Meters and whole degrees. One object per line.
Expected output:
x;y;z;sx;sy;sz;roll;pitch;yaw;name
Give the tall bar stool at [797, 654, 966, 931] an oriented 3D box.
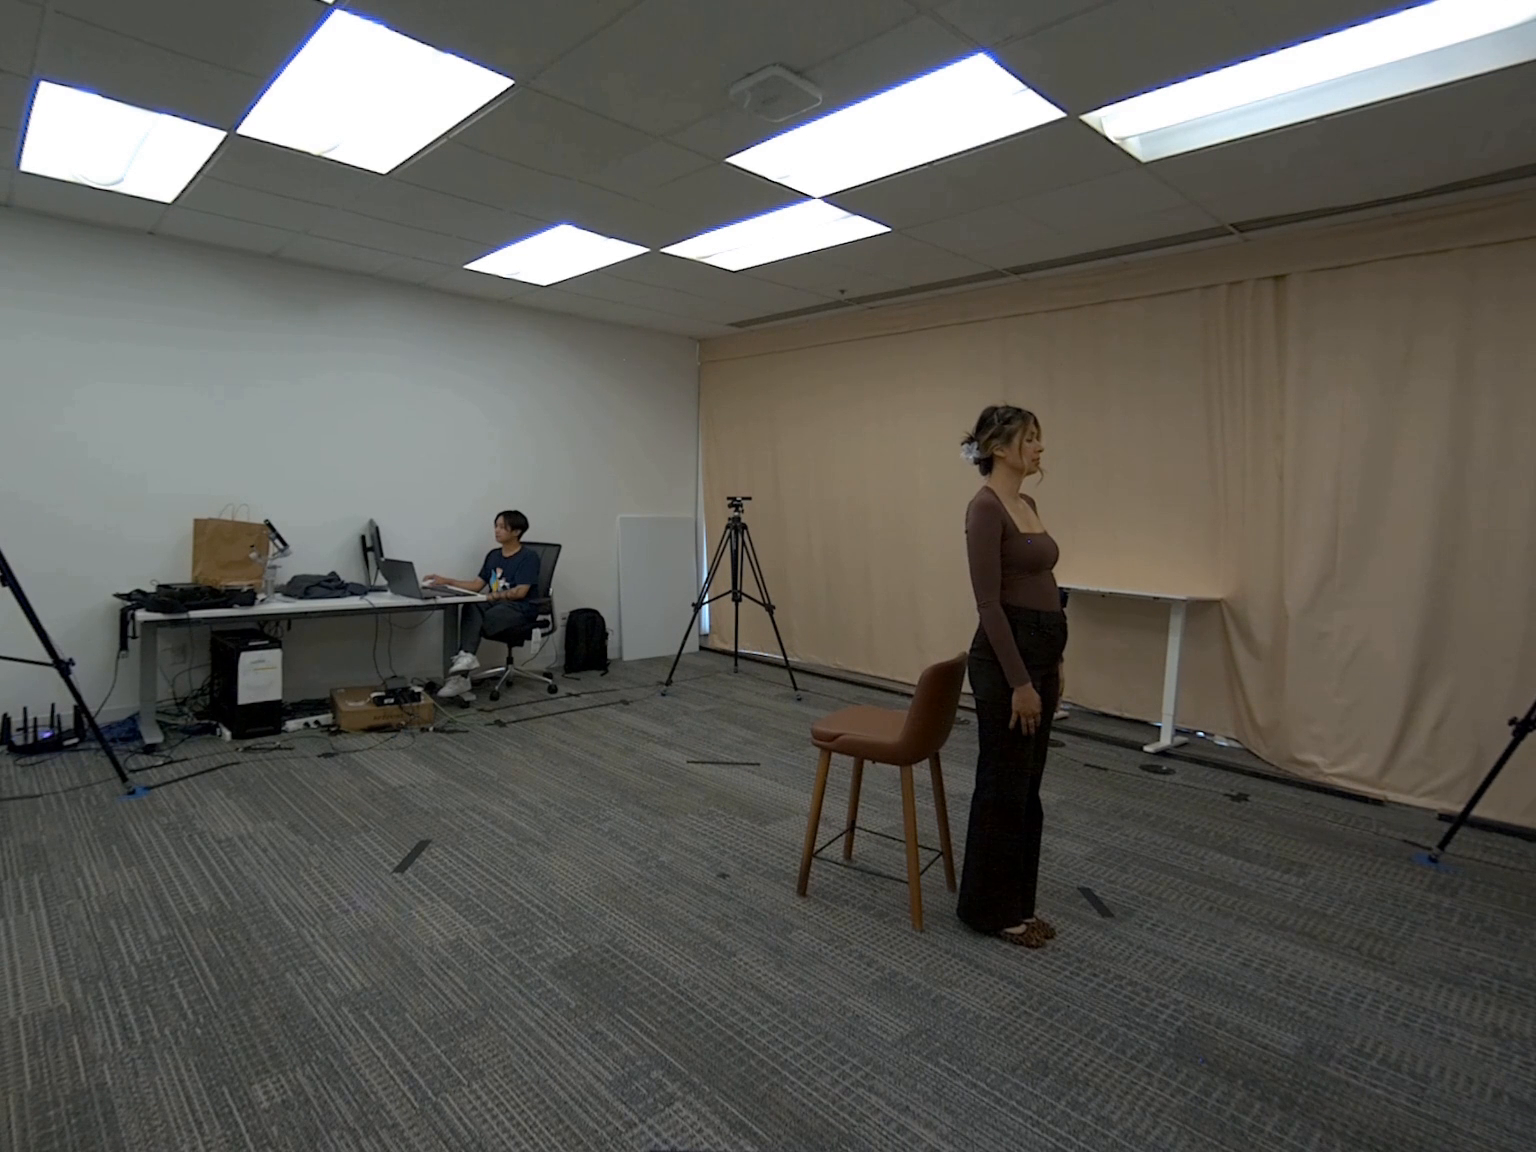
0.409;0.693;2.977;0.479;0.887;0.447;7;6;32;tall bar stool
